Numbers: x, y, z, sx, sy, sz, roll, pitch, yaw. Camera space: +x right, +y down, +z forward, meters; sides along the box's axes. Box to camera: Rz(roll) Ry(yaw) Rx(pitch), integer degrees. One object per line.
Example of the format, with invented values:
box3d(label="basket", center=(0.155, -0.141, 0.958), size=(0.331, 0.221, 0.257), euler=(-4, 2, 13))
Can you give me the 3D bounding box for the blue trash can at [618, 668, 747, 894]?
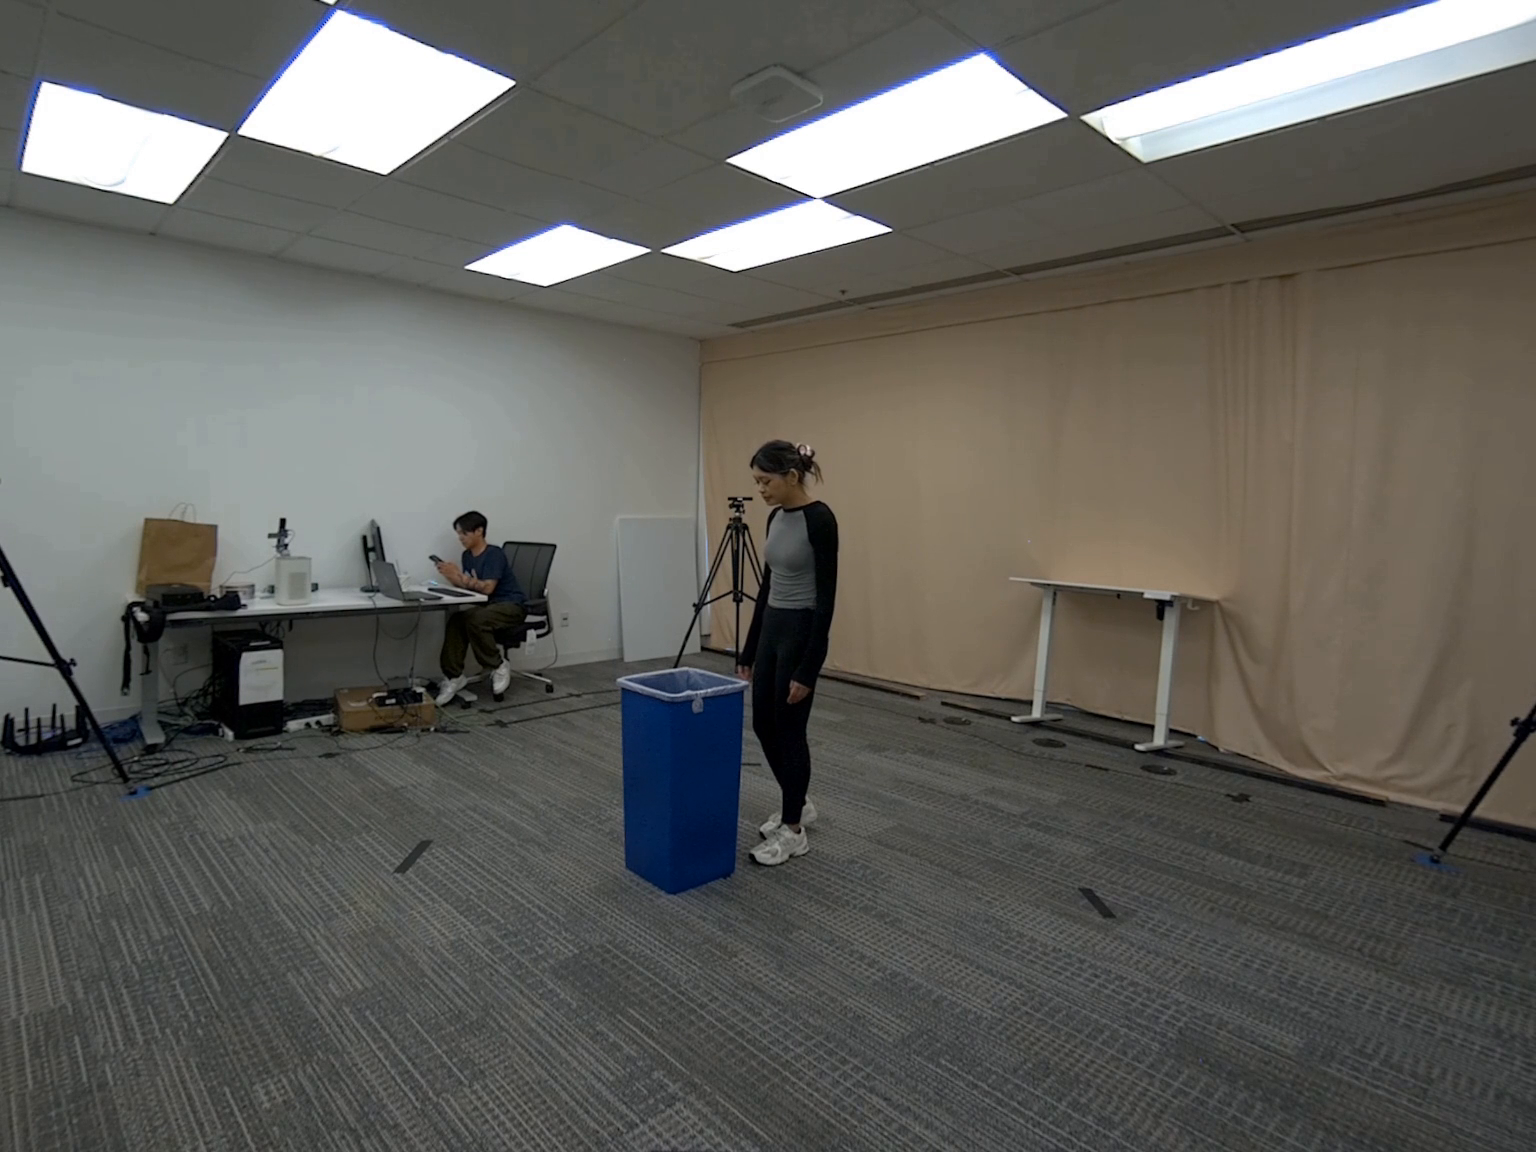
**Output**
box3d(label="blue trash can", center=(-0.337, 0.744, 3.132), size=(0.369, 0.712, 0.383), euler=(-1, 4, -42))
